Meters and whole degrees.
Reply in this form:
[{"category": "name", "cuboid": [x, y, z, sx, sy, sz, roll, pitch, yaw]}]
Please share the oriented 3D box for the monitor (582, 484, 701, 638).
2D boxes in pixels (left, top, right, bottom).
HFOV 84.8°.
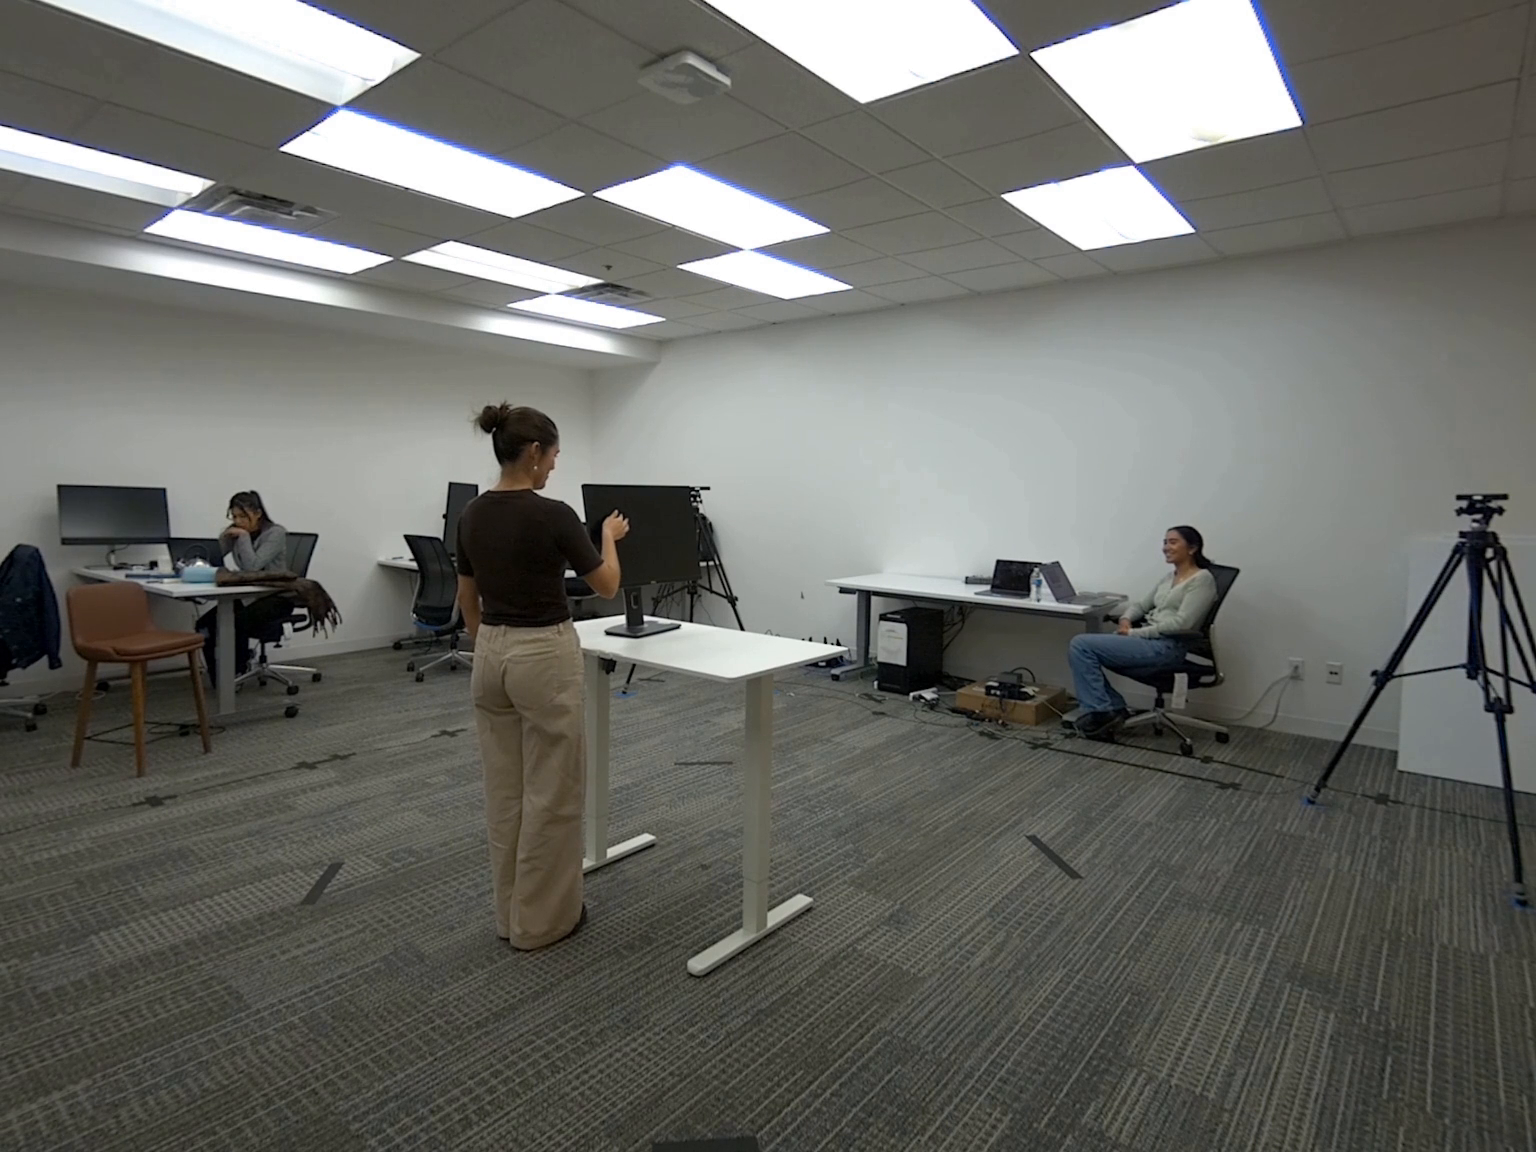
[{"category": "monitor", "cuboid": [-0.459, -0.060, 2.981, 0.193, 0.521, 0.524, 4, 5, 35]}]
